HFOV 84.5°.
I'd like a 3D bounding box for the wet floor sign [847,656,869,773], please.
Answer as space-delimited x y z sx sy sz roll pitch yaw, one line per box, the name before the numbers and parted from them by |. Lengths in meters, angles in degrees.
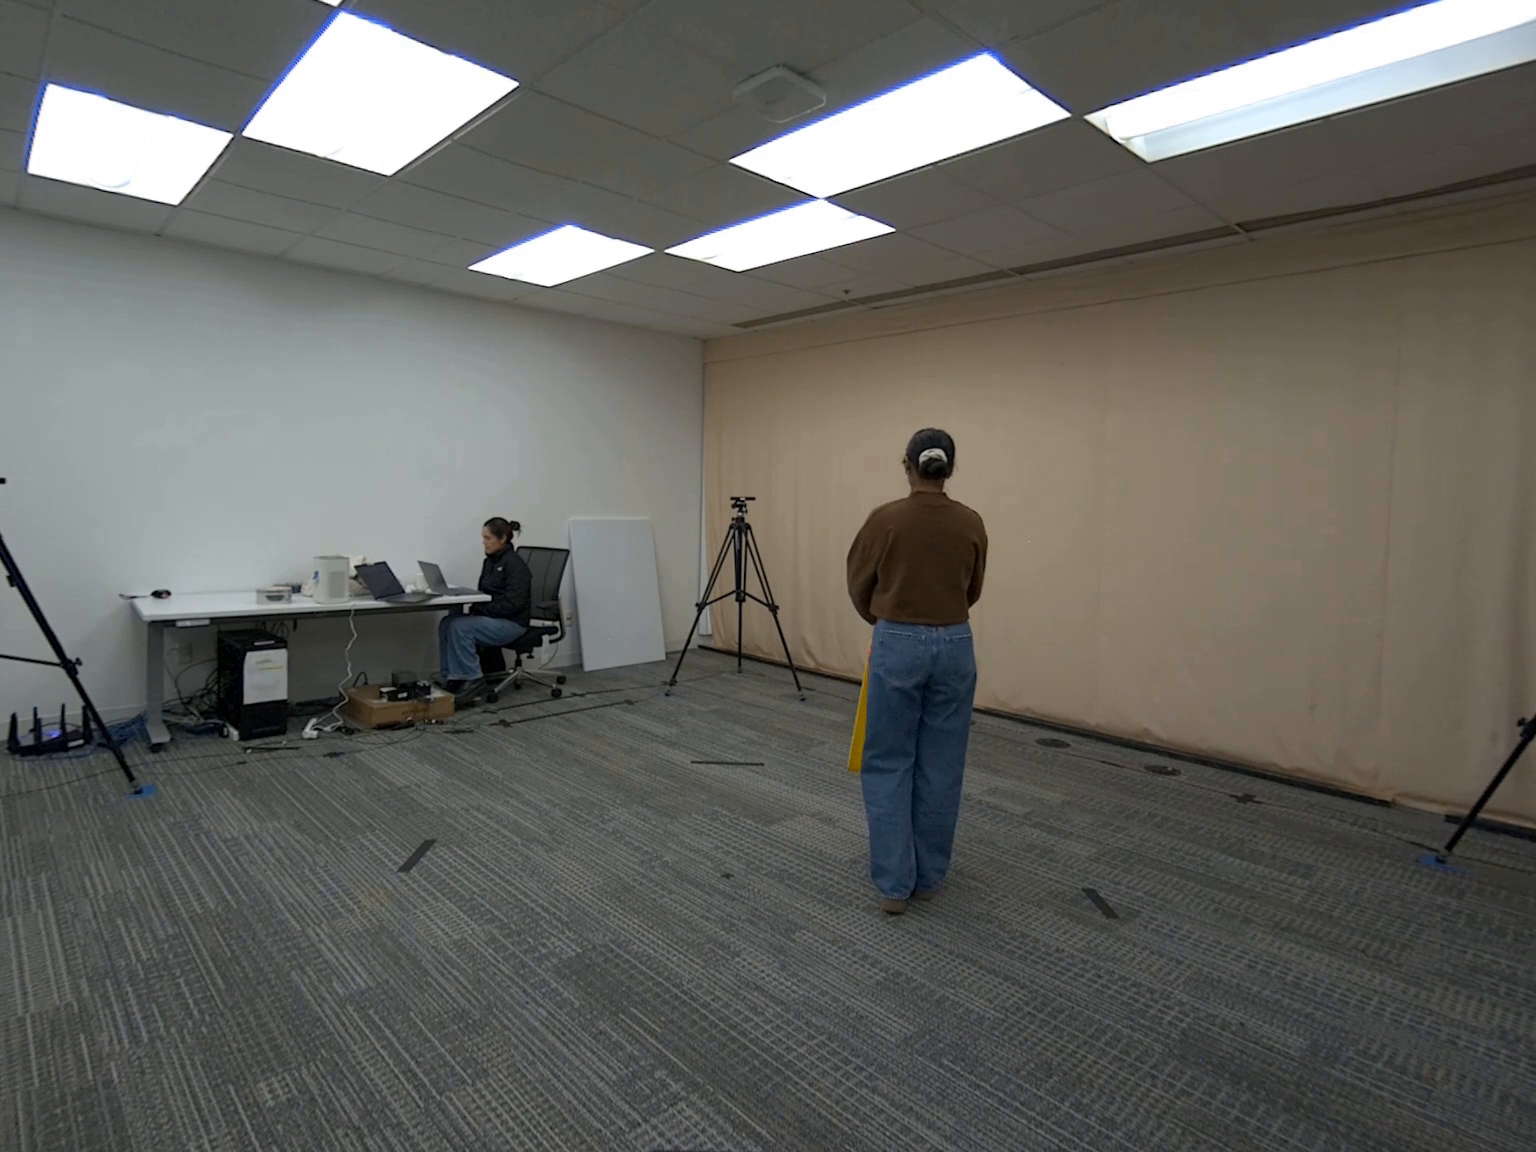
wet floor sign | 0.508 0.502 3.325 0.279 0.645 0.293 3 3 -12
